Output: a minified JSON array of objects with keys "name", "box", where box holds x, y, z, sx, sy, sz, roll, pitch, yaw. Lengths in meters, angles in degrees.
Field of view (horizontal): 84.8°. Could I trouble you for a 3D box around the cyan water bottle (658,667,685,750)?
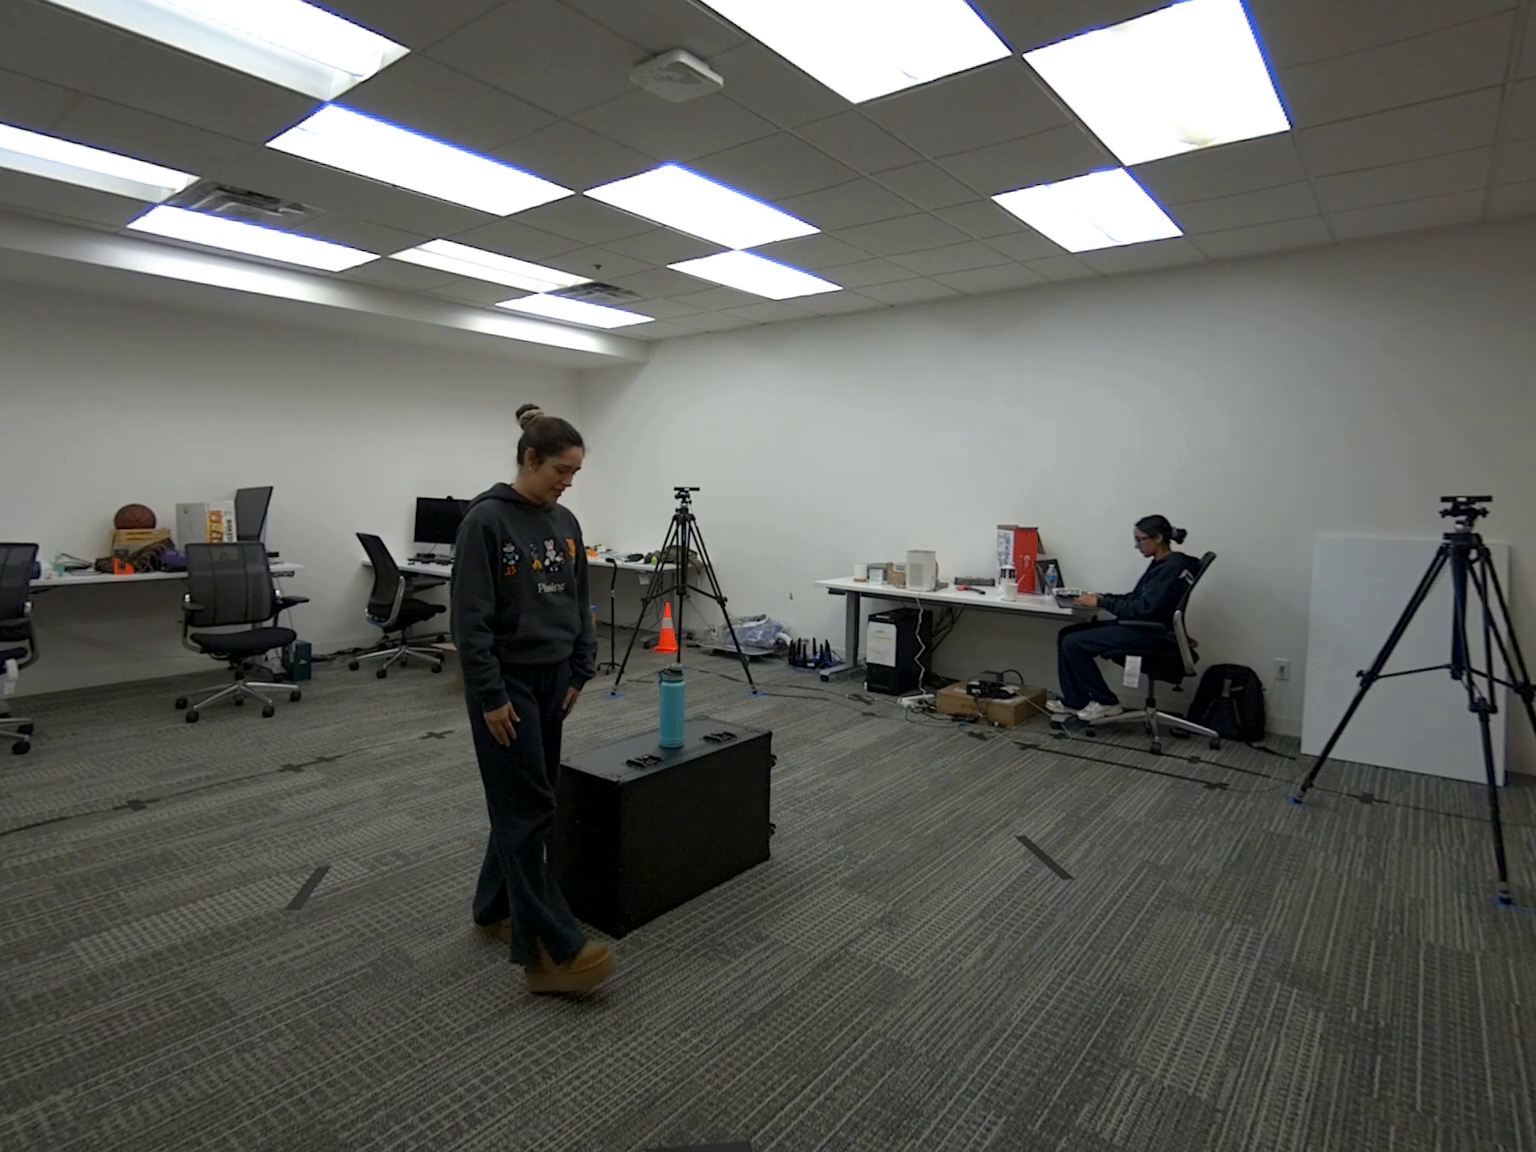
[{"name":"cyan water bottle","box":[-0.347,0.453,3.005,0.092,0.282,0.093,-1,3,-2]}]
